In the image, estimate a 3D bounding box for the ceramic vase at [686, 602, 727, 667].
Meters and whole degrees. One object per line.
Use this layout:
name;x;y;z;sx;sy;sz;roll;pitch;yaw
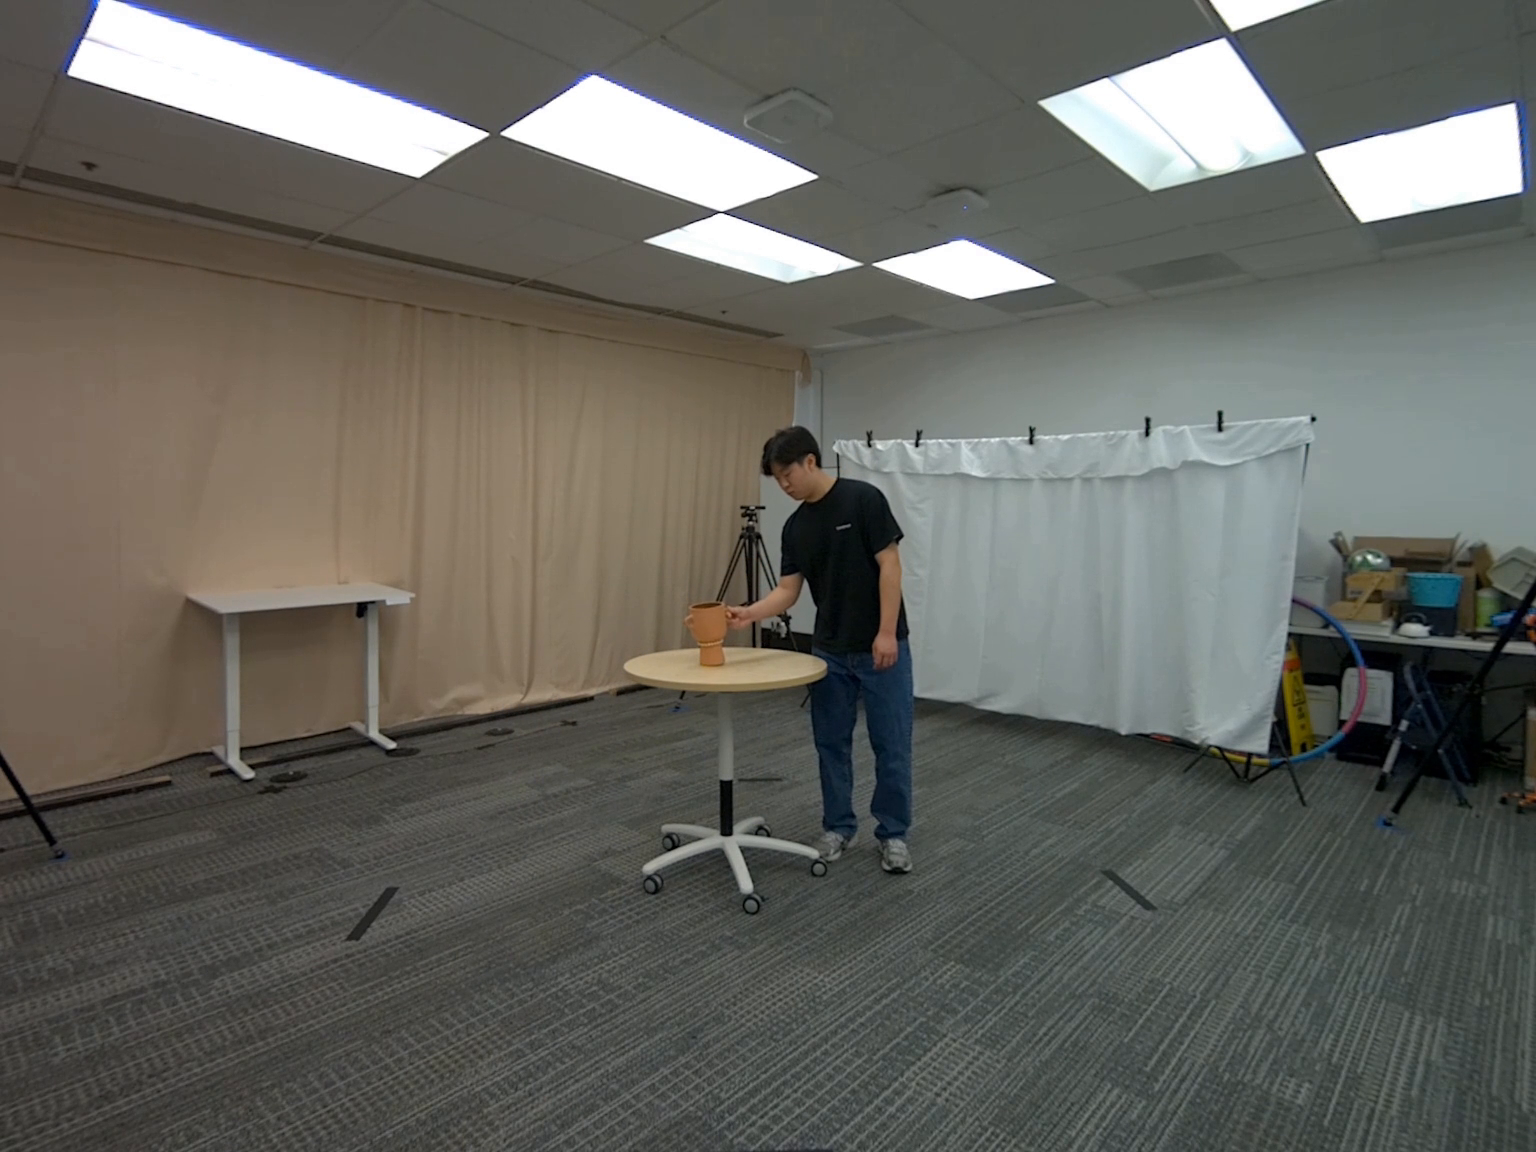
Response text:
ceramic vase;-0.211;0.221;3.156;0.161;0.219;0.134;-3;7;10
